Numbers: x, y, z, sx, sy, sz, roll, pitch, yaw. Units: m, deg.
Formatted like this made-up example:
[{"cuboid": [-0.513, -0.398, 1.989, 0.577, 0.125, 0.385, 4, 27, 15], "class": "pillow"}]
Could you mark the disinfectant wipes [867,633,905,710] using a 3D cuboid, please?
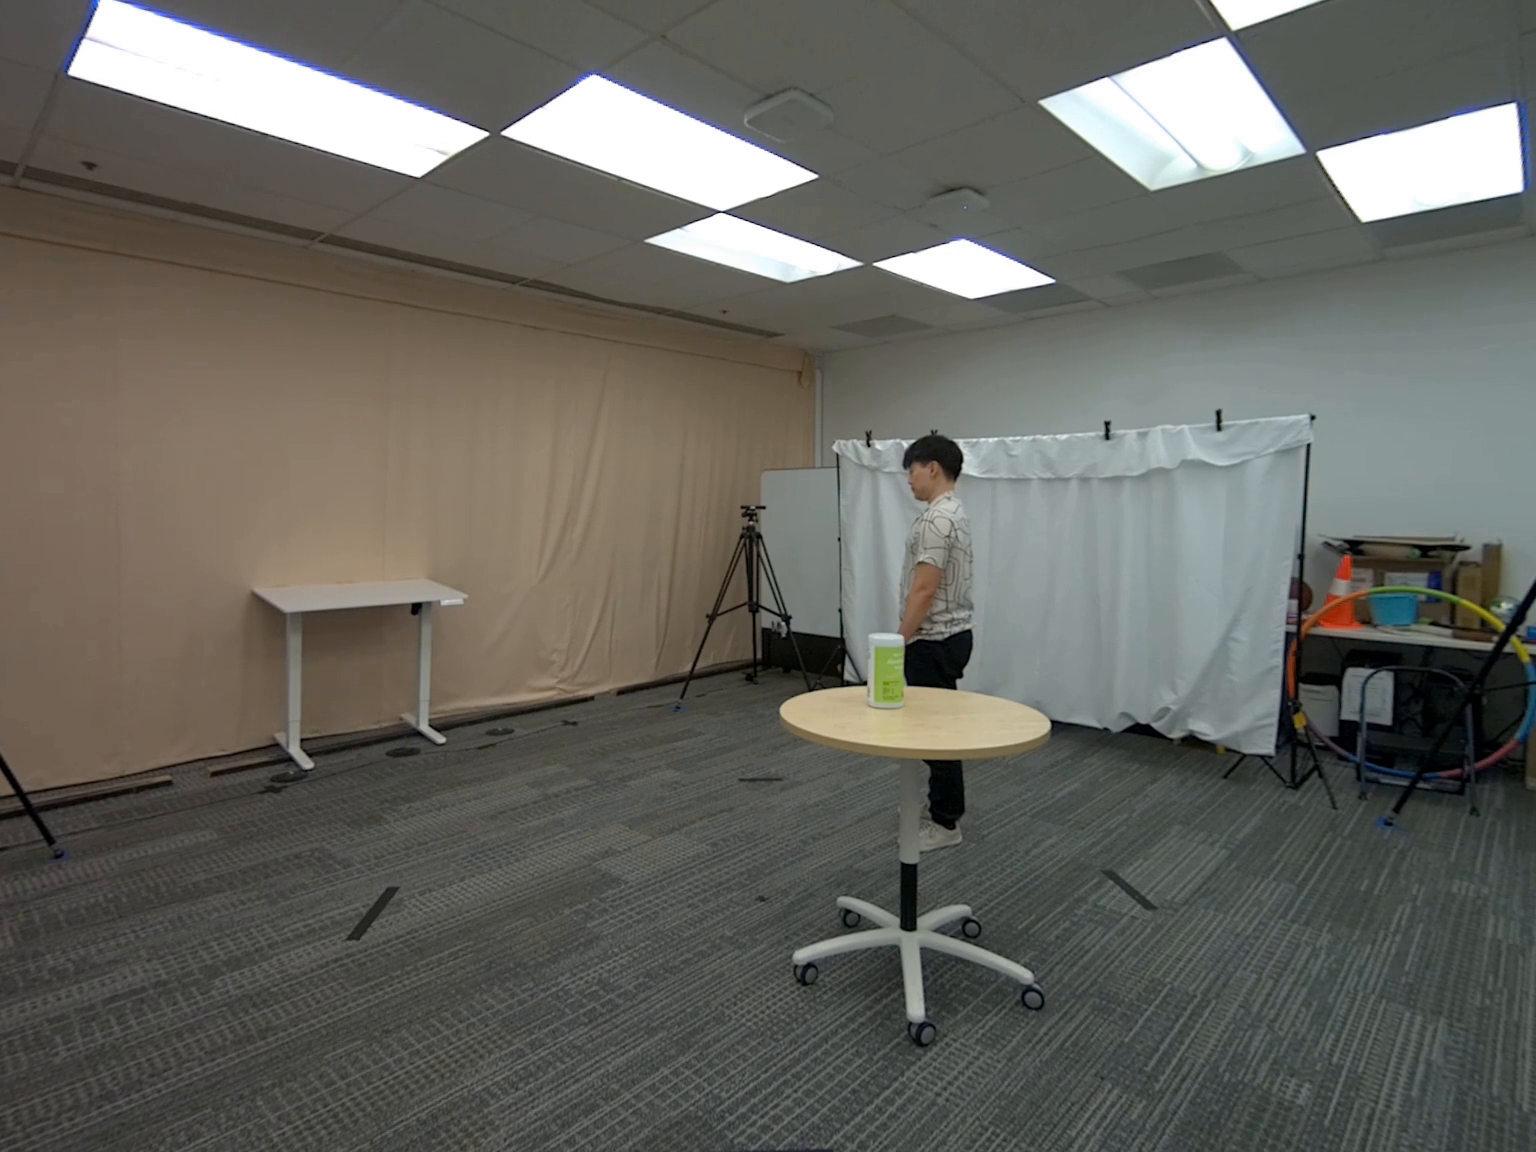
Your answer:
[{"cuboid": [0.360, 0.288, 2.550, 0.118, 0.217, 0.118, 1, 3, -2], "class": "disinfectant wipes"}]
